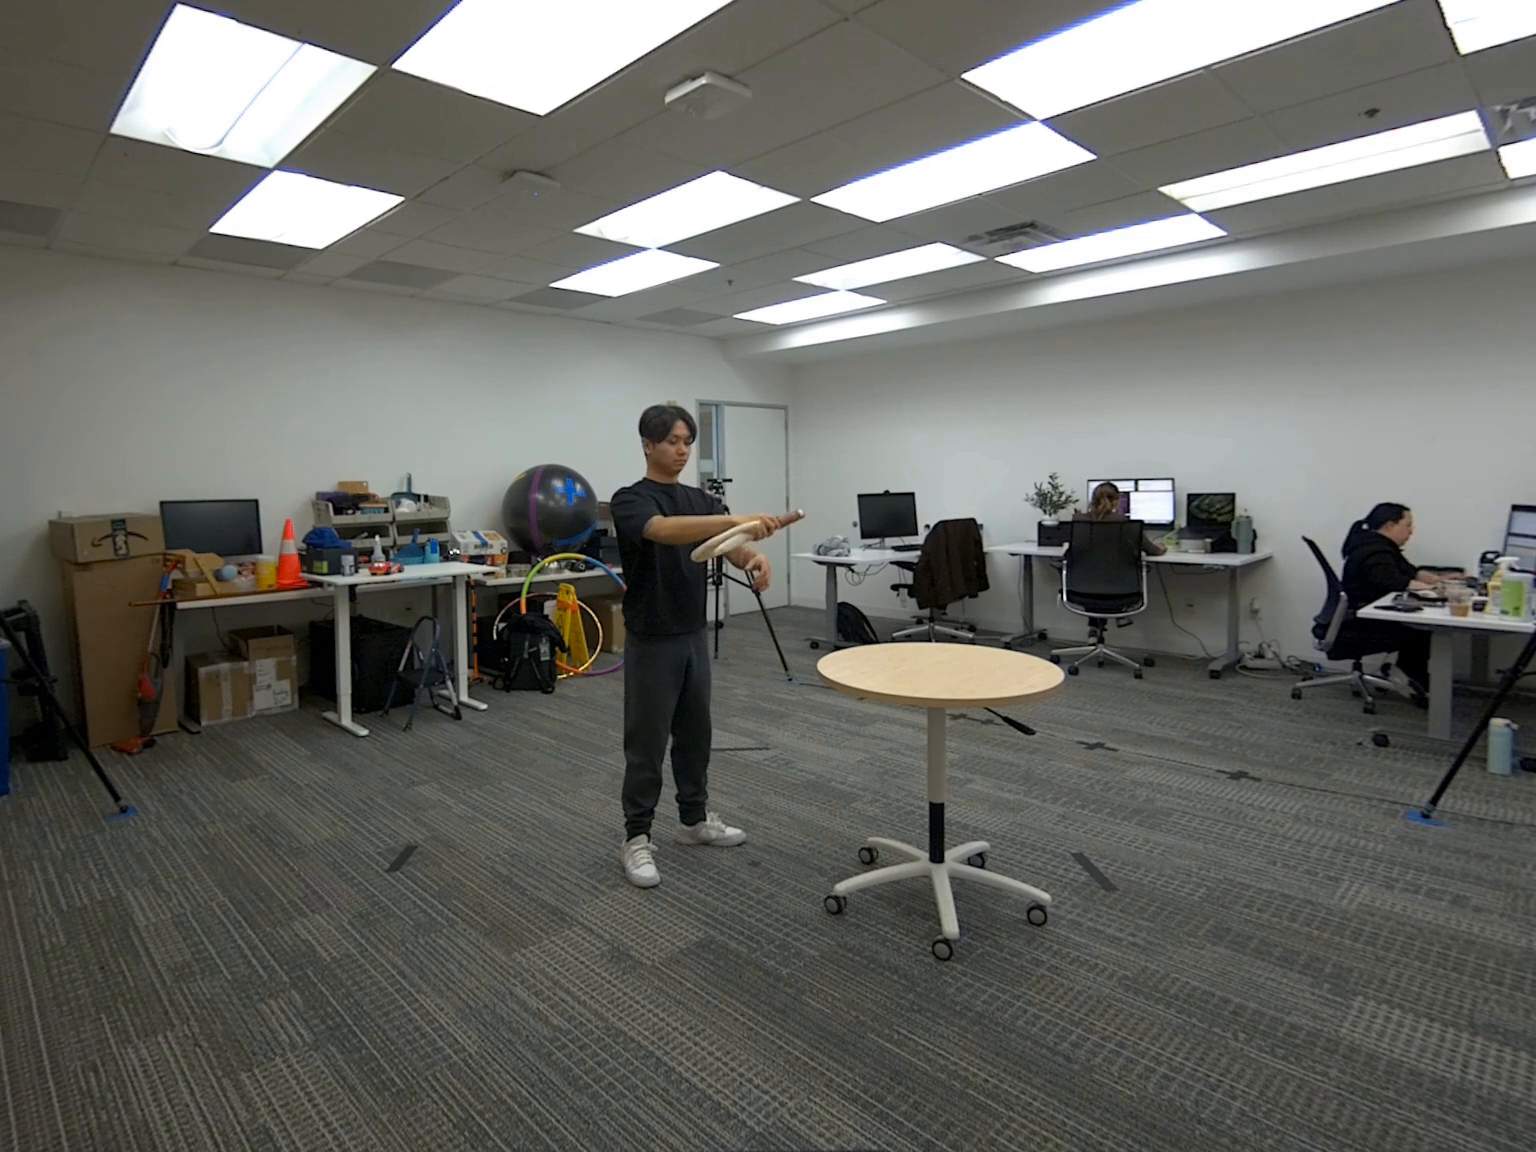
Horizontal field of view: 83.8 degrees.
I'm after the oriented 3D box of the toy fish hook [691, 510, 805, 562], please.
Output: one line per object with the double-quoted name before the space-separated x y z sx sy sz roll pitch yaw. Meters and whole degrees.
"toy fish hook" -0.024 -0.145 2.726 0.499 0.048 0.226 -25 -4 -39
